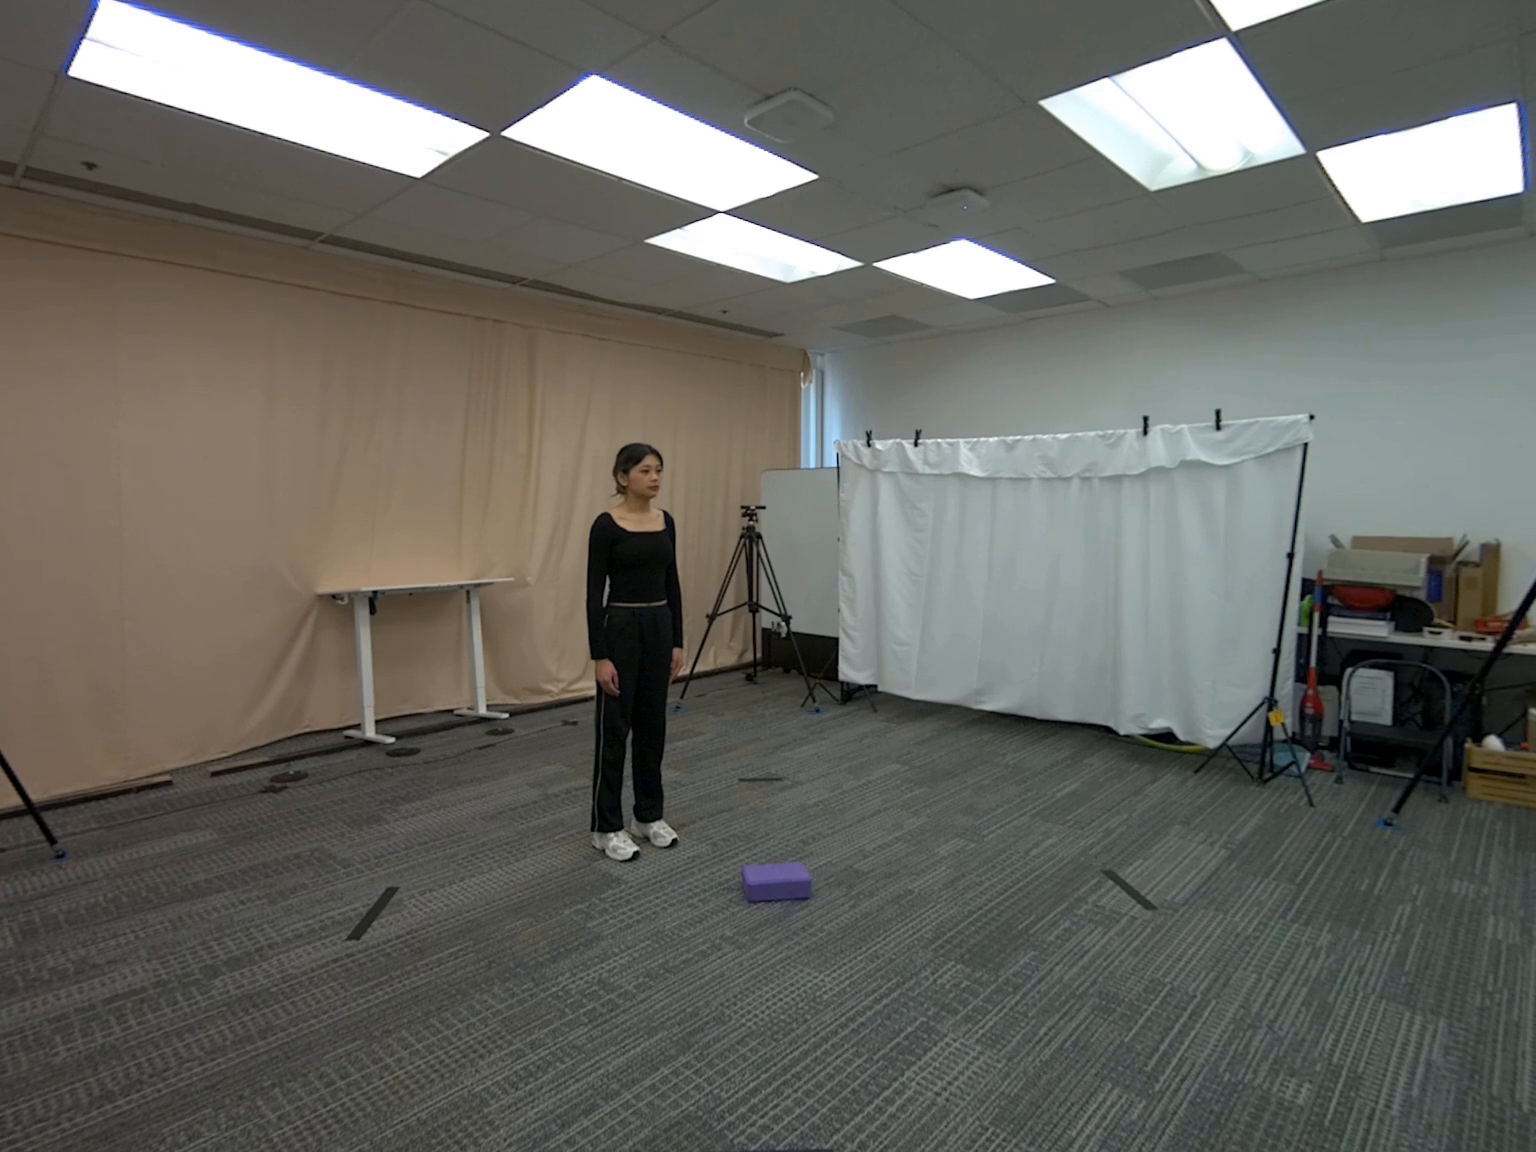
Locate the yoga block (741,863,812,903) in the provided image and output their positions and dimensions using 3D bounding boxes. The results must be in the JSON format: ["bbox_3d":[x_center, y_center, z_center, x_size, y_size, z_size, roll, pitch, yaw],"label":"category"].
[{"bbox_3d":[0.032,1.099,3.027,0.227,0.076,0.150,0,5,-8],"label":"yoga block"}]
